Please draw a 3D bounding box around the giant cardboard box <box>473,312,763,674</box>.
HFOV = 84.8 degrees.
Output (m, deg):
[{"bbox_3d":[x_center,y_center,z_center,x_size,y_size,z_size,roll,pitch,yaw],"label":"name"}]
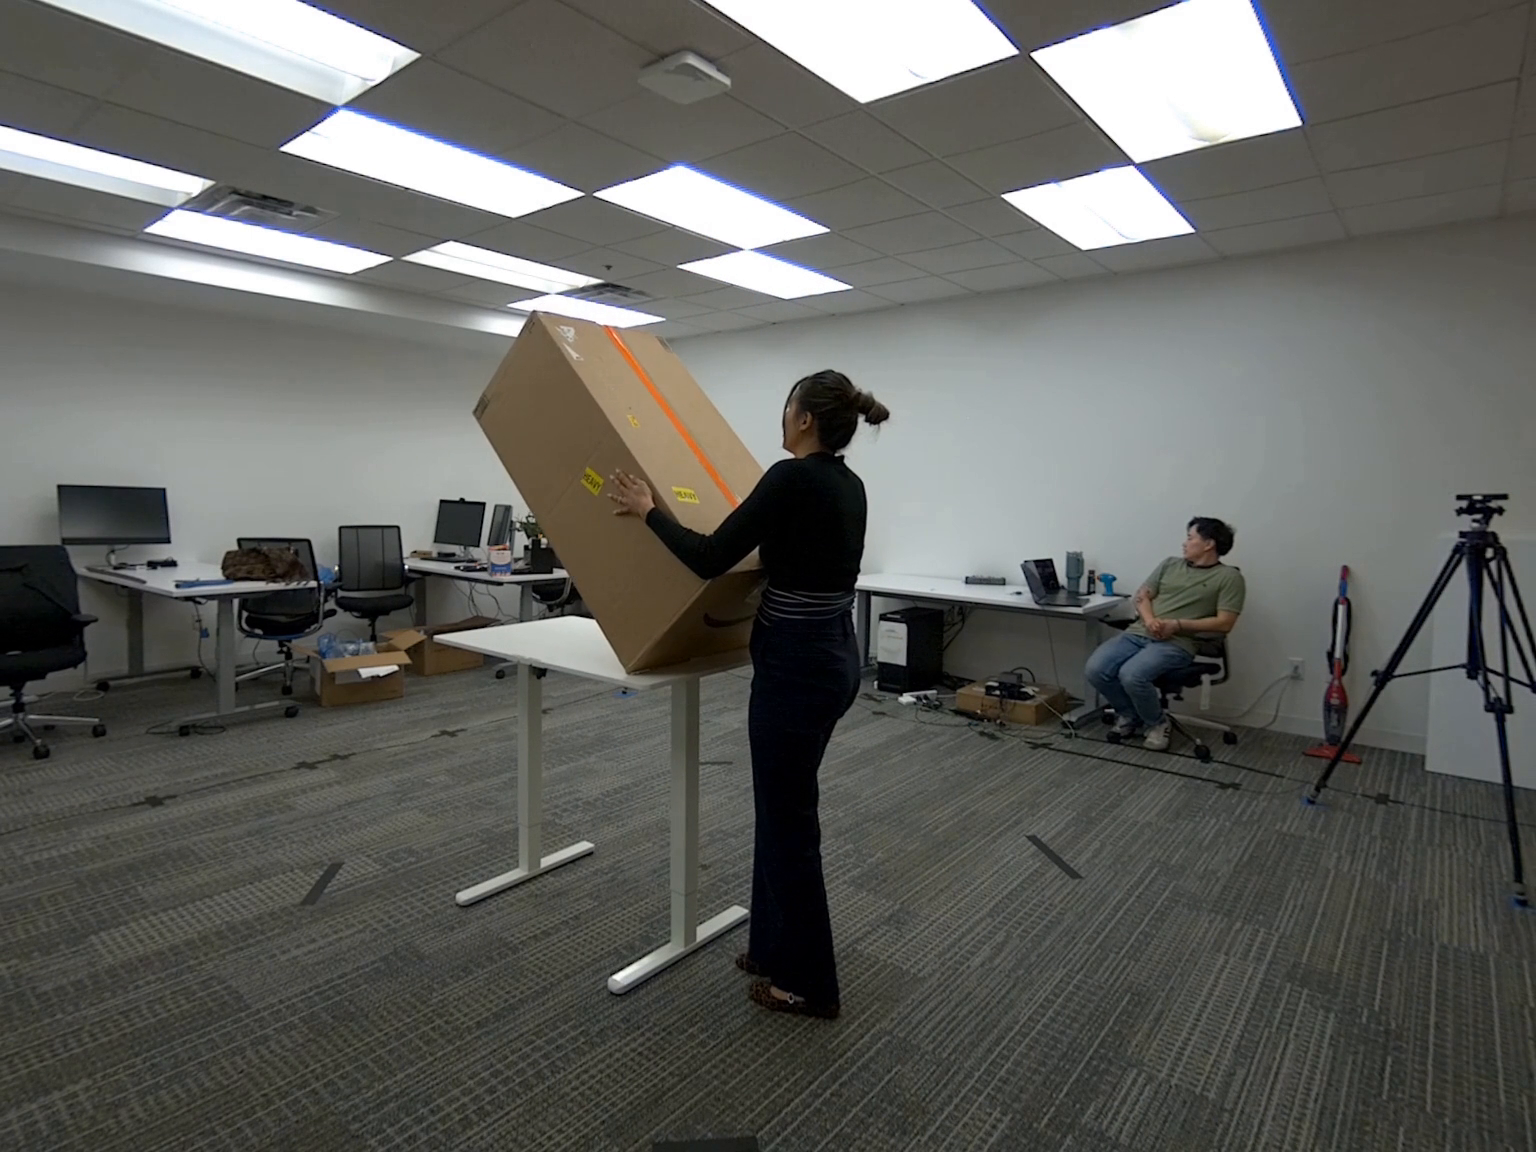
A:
[{"bbox_3d":[-0.383,-0.274,2.625,0.561,1.056,0.426,-5,-36,-52],"label":"giant cardboard box"}]
